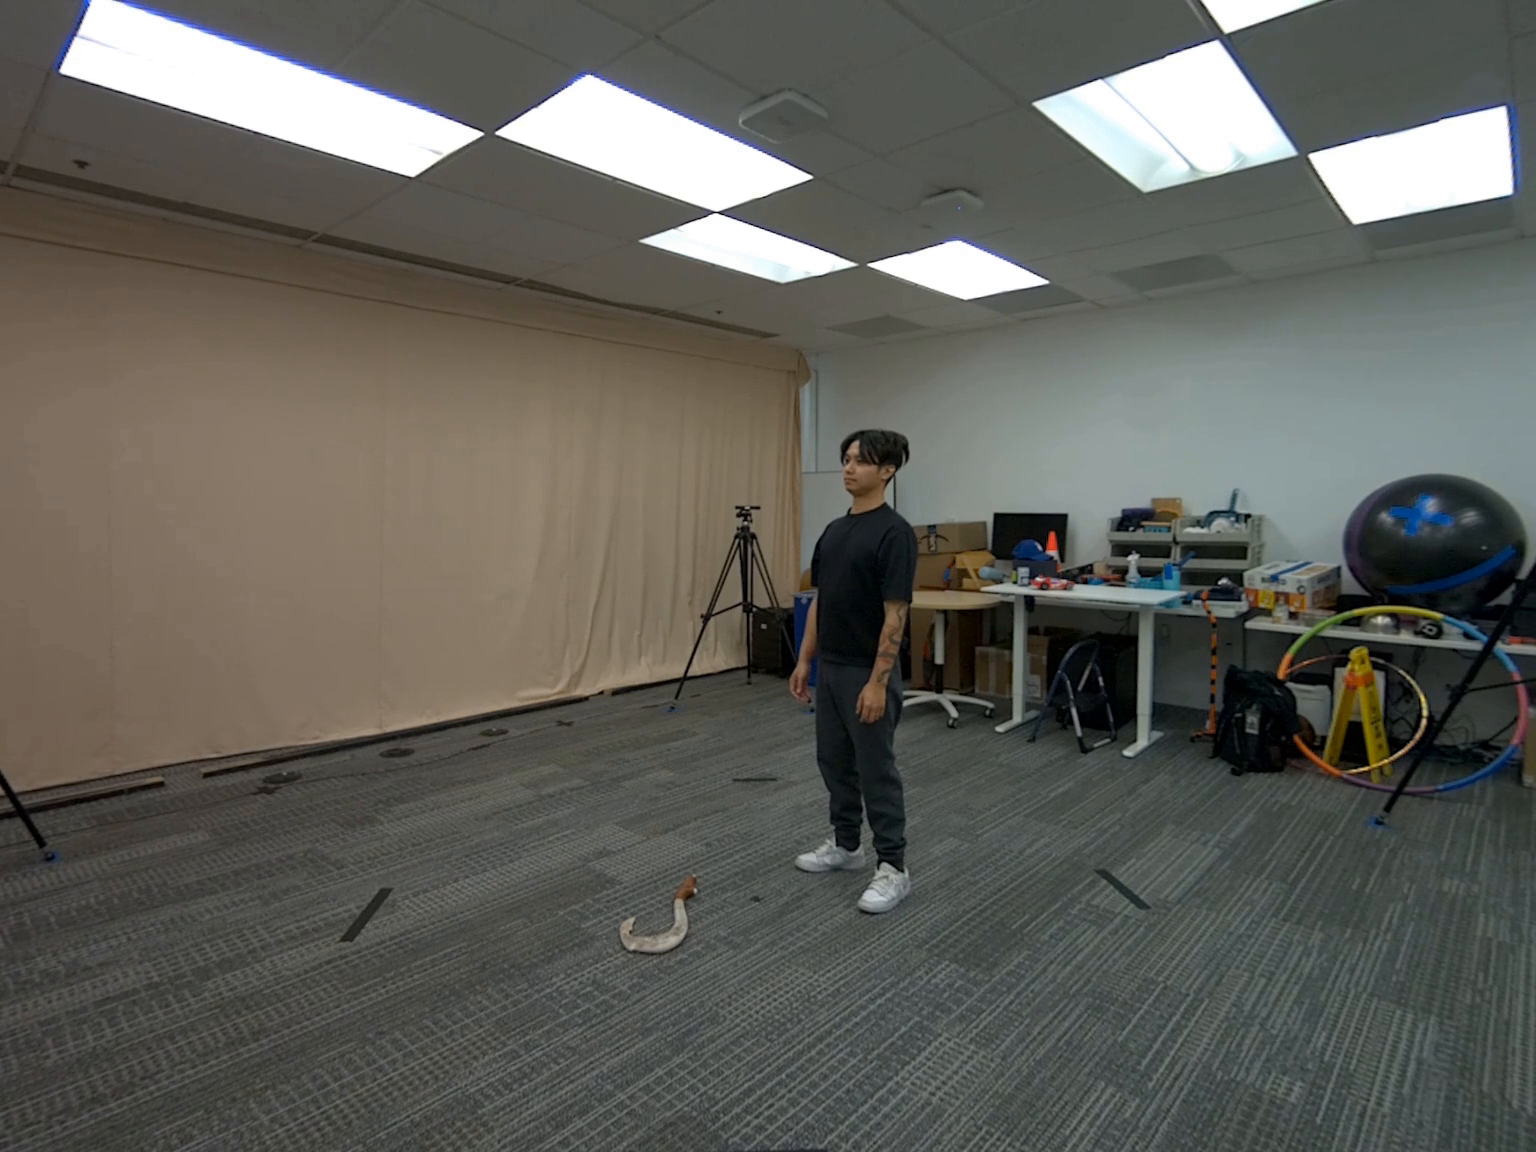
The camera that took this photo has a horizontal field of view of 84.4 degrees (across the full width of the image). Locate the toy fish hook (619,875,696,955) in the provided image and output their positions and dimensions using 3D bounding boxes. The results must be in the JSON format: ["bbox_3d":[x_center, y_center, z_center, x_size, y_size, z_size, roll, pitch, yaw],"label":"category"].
[{"bbox_3d":[-0.358,1.133,2.857,0.227,0.048,0.503,2,5,7],"label":"toy fish hook"}]
